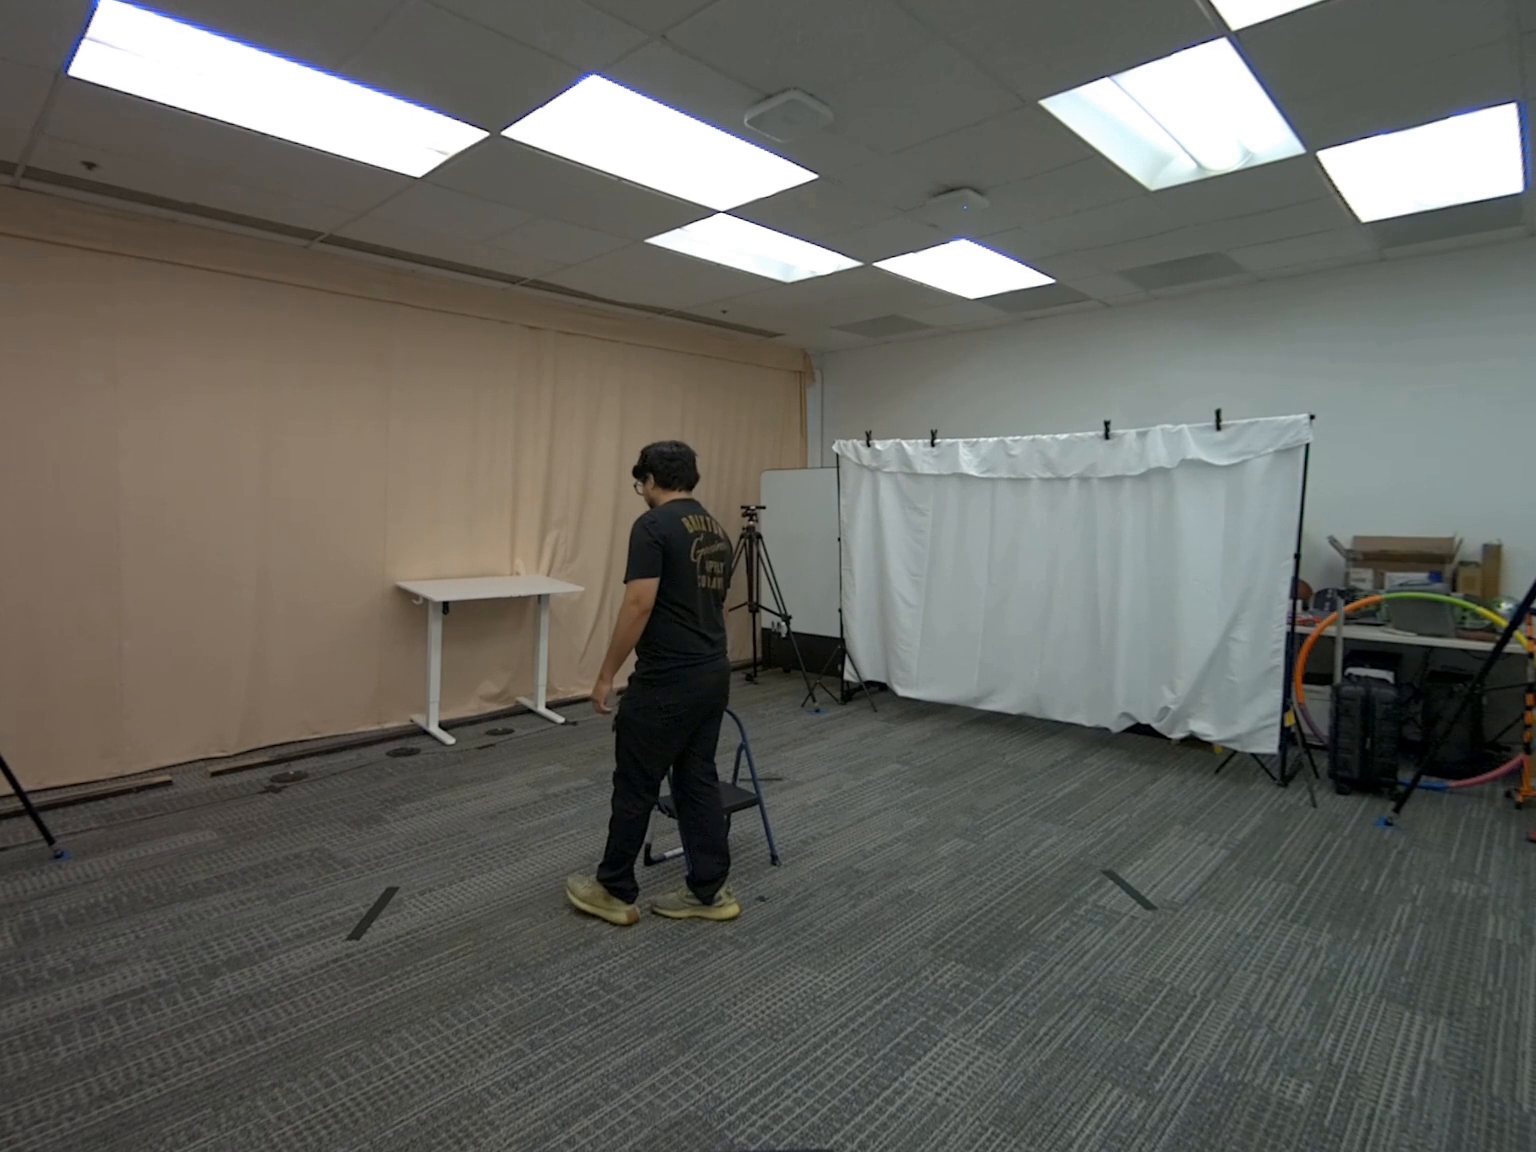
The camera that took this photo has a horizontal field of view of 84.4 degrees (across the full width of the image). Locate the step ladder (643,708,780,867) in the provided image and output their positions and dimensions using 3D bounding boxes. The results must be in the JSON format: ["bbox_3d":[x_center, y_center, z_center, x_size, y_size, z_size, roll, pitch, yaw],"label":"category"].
[{"bbox_3d":[-0.218,0.817,3.252,0.417,0.605,0.361,-3,4,-41],"label":"step ladder"}]
